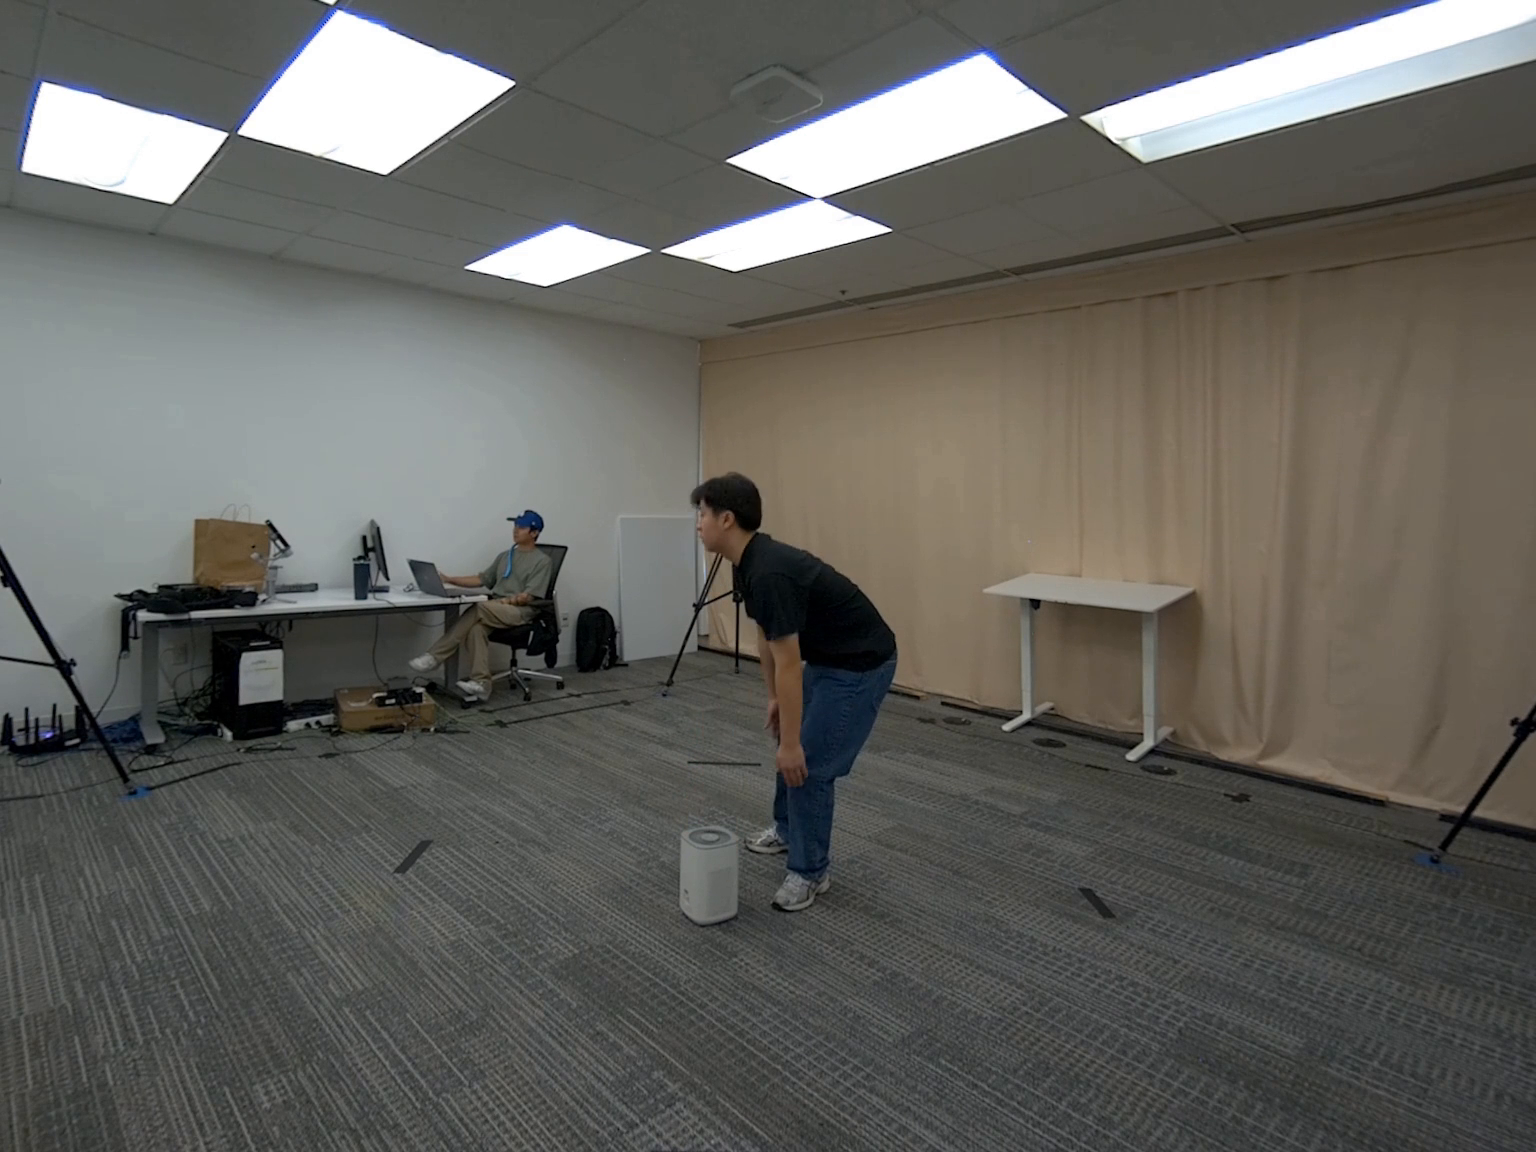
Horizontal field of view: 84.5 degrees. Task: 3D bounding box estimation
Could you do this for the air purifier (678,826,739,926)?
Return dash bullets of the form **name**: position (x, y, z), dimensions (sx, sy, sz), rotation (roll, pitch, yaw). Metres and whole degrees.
- **air purifier**: position (-0.200, 0.992, 2.815), dimensions (0.168, 0.265, 0.175), rotation (-1, 4, -36)
